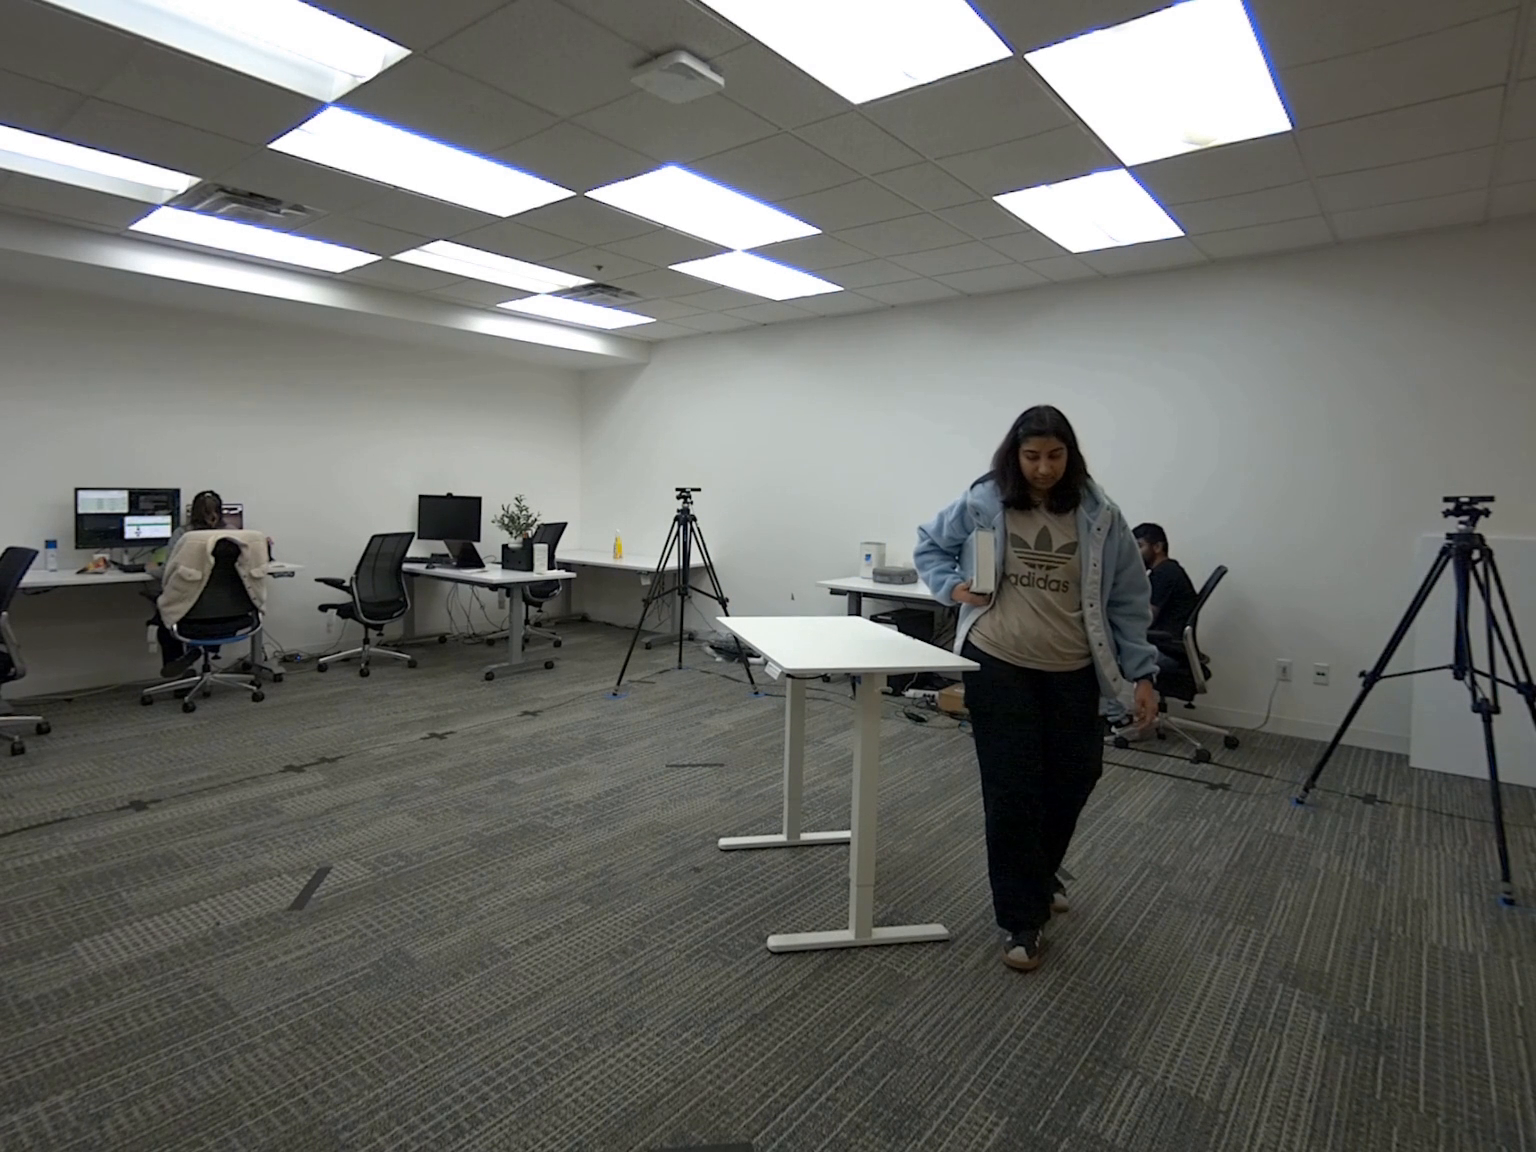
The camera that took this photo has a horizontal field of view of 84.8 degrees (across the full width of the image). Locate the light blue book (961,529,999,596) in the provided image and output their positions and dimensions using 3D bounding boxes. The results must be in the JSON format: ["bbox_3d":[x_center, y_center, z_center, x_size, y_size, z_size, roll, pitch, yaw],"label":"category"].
[{"bbox_3d":[0.665,-0.046,2.716,0.059,0.191,0.259,3,1,5],"label":"light blue book"}]
